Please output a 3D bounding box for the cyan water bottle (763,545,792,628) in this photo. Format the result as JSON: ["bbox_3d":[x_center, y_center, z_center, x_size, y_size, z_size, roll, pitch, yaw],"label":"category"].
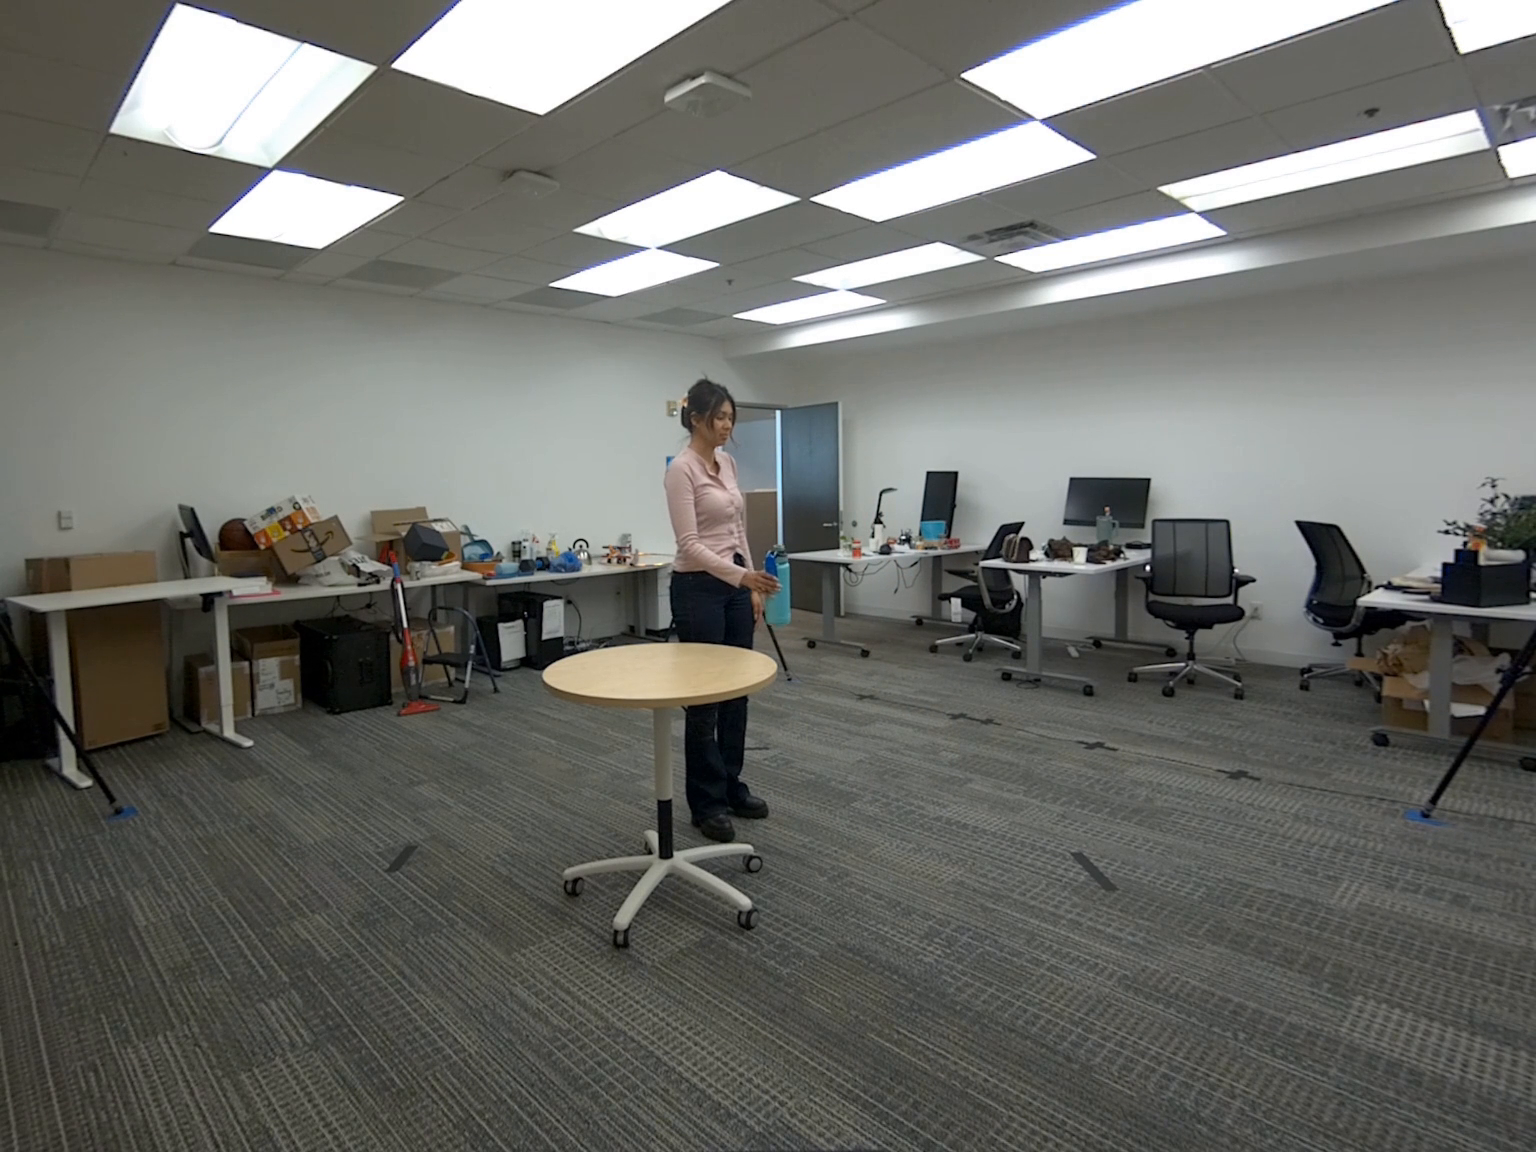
[{"bbox_3d":[0.025,0.034,3.075,0.092,0.279,0.094,-2,17,-1],"label":"cyan water bottle"}]
